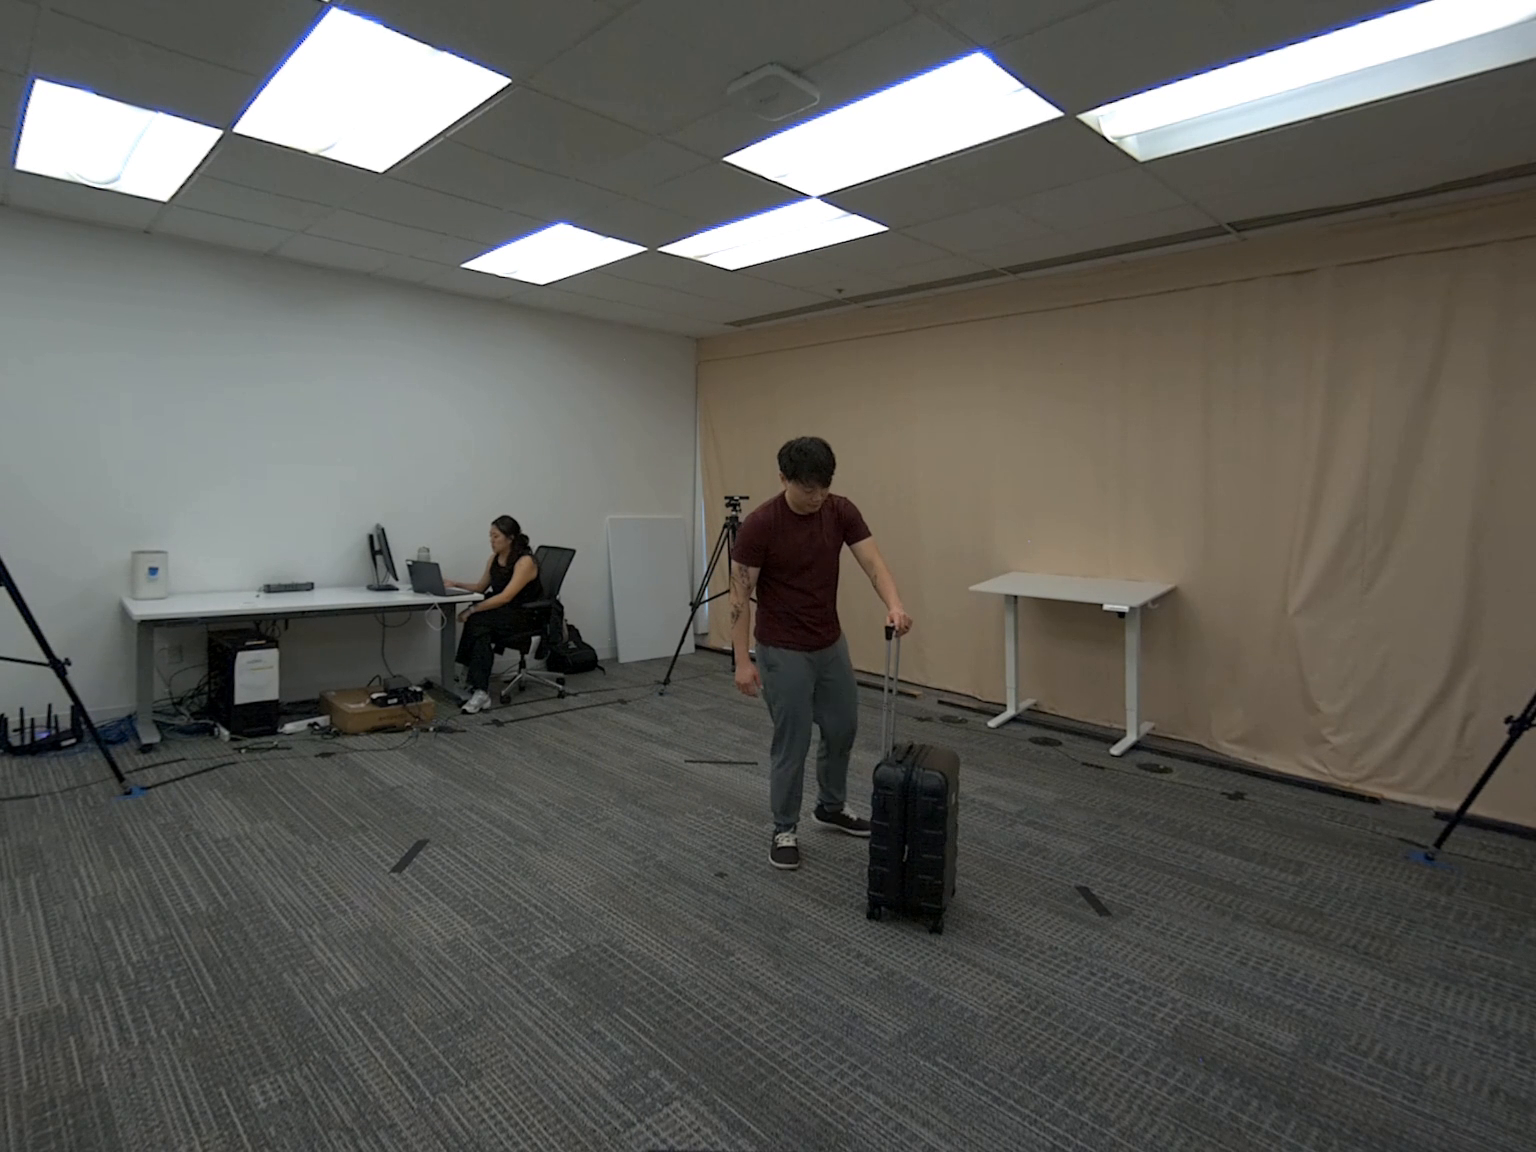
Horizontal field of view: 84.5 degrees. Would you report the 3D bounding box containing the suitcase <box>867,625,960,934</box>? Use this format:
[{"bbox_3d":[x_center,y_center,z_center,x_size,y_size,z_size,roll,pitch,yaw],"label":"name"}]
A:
[{"bbox_3d":[0.510,0.667,2.849,0.261,0.974,0.379,5,6,21],"label":"suitcase"}]
